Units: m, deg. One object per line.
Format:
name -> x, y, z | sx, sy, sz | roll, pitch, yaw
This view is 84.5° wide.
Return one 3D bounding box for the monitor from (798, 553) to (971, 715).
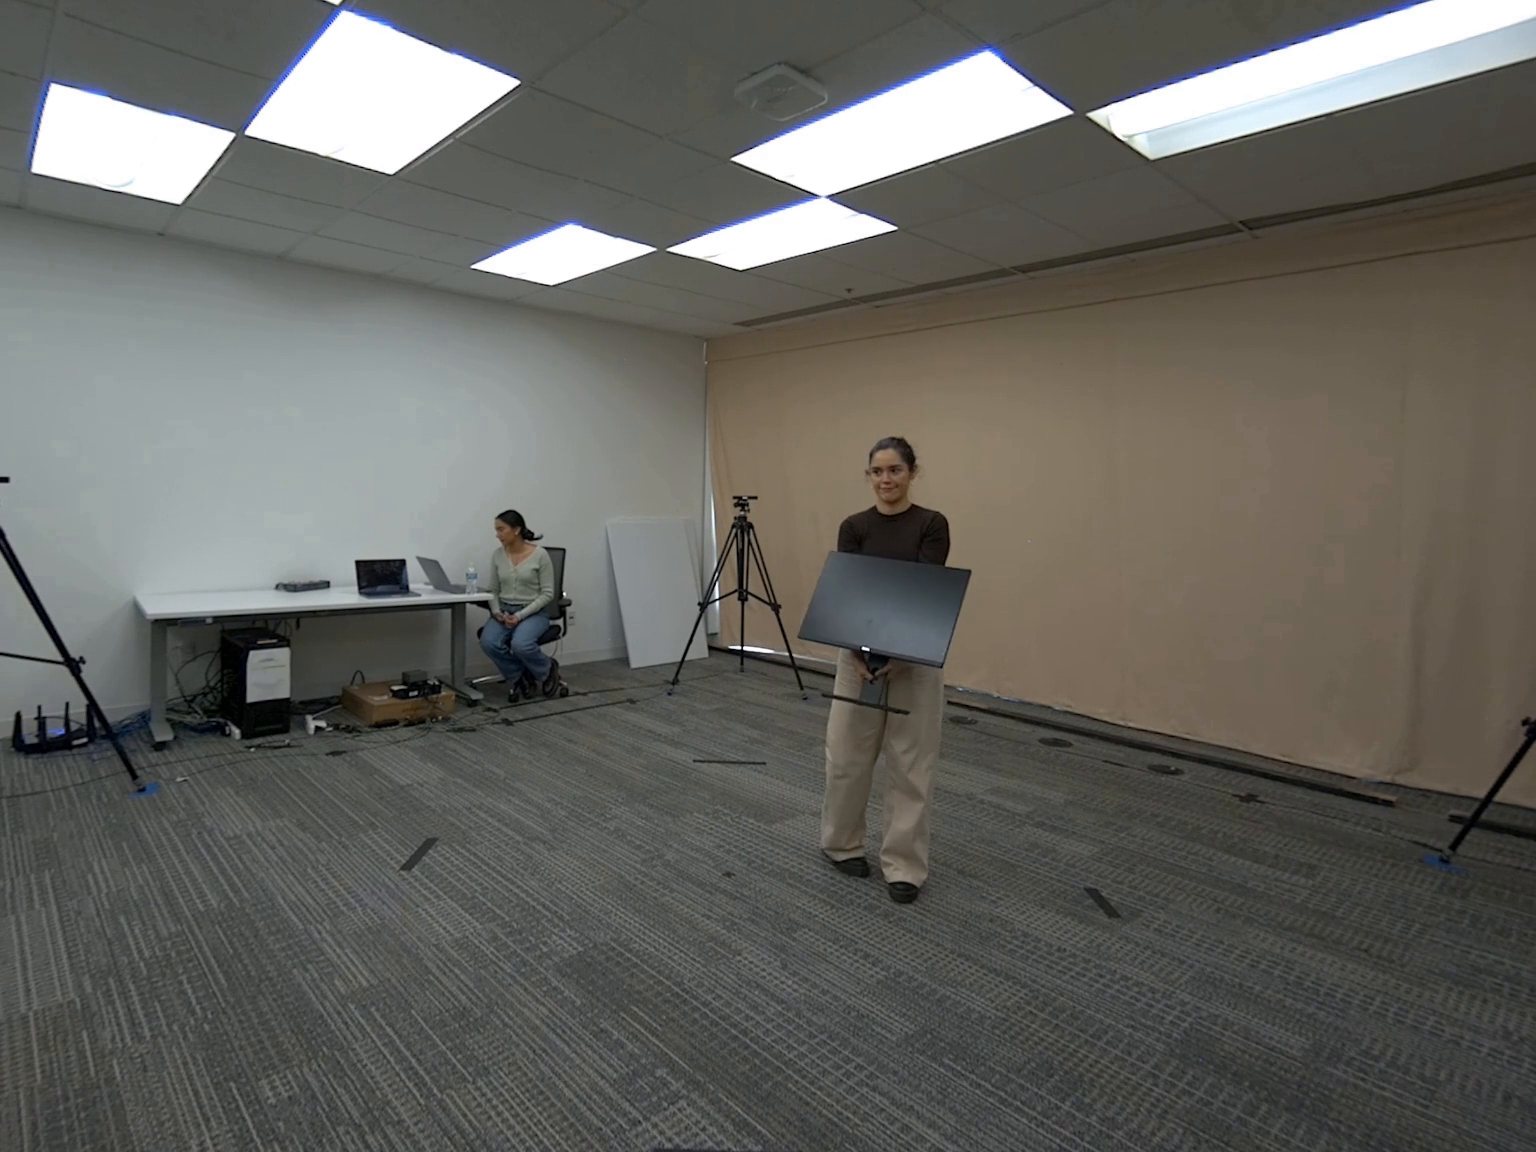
monitor -> 0.367, 0.197, 2.882 | 0.552, 0.525, 0.182 | 9, -10, 32
